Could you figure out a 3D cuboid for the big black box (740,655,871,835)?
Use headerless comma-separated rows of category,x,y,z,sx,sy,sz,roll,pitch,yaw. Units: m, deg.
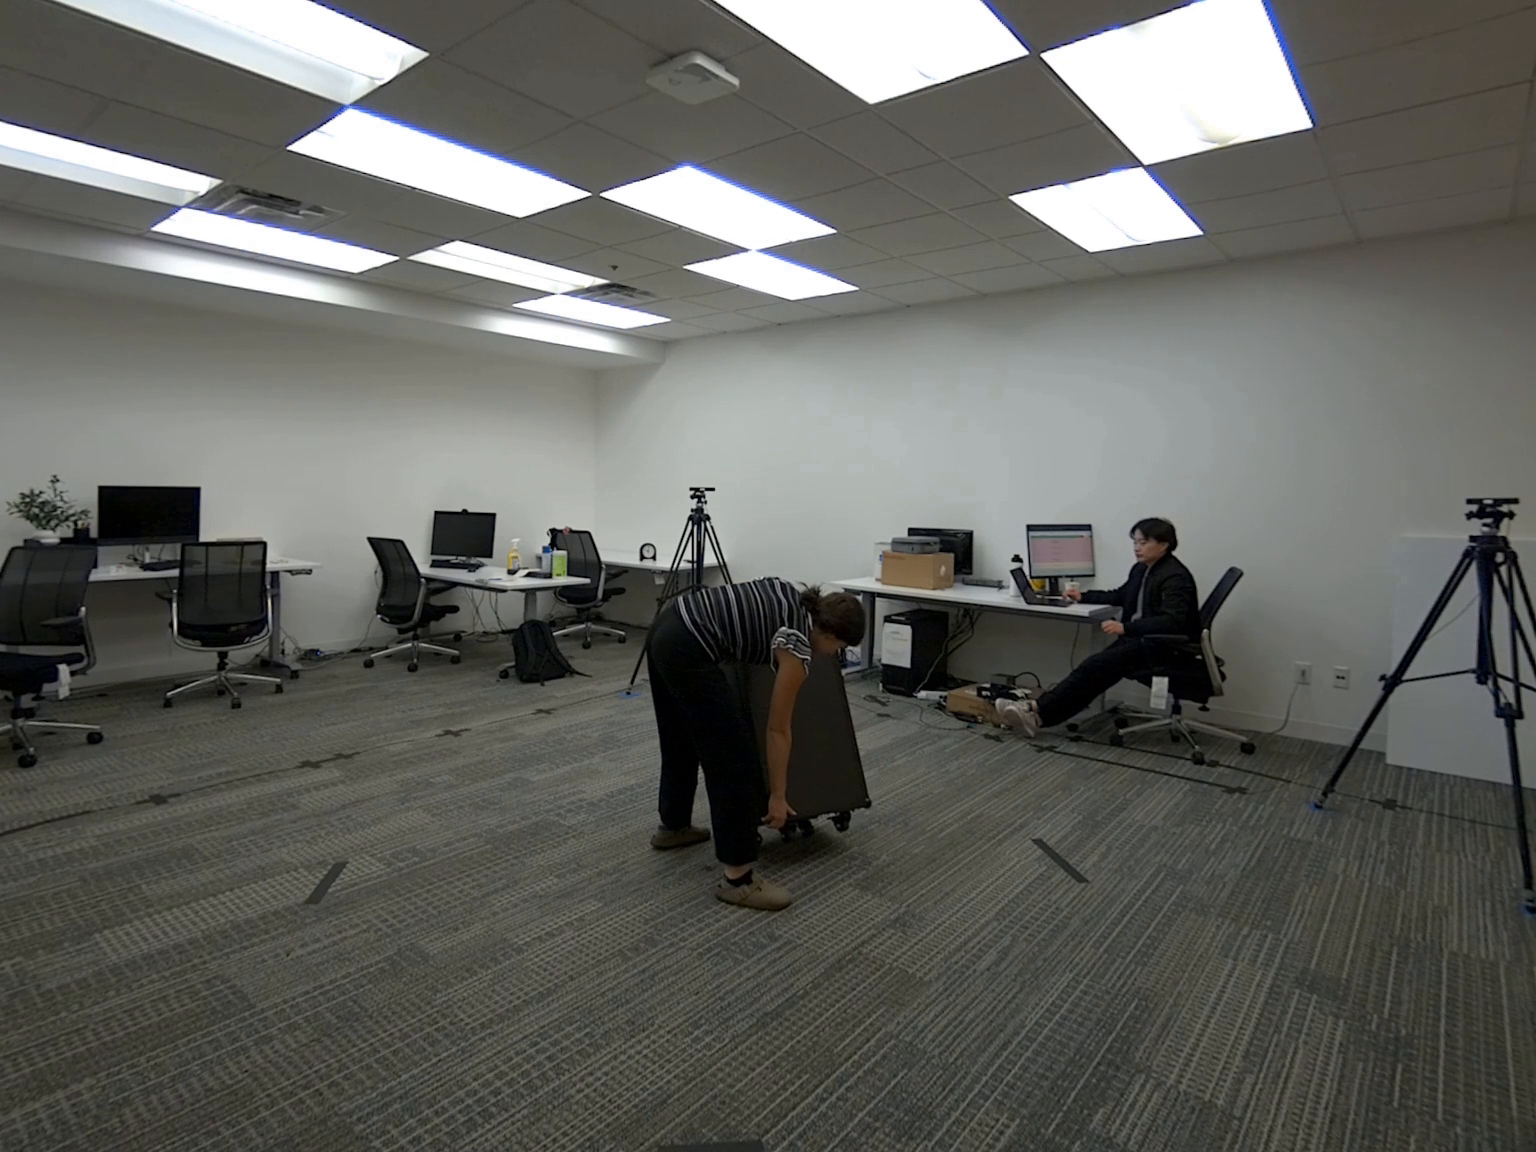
big black box,0.028,0.601,3.411,0.506,0.880,0.399,2,-23,-33
